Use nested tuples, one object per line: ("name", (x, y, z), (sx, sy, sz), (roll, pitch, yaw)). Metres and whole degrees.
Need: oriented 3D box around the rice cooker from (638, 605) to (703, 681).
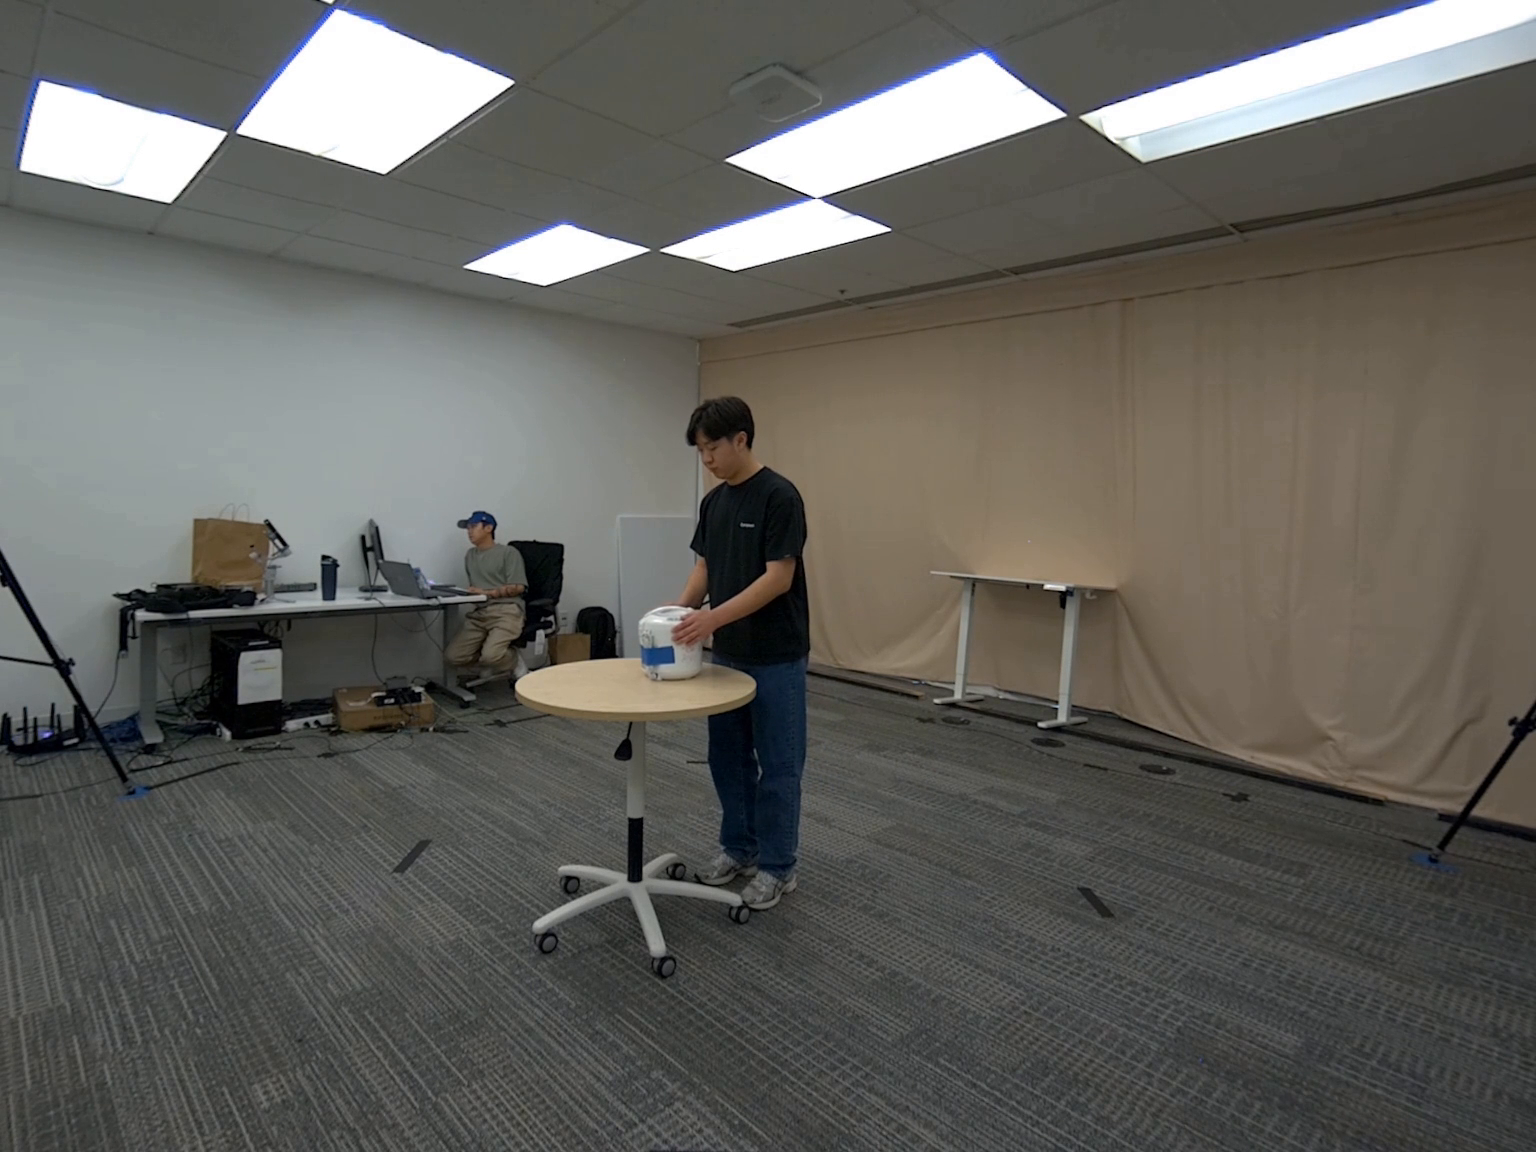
("rice cooker", (-0.324, 0.218, 2.809), (0.218, 0.232, 0.220), (2, 4, -12))
